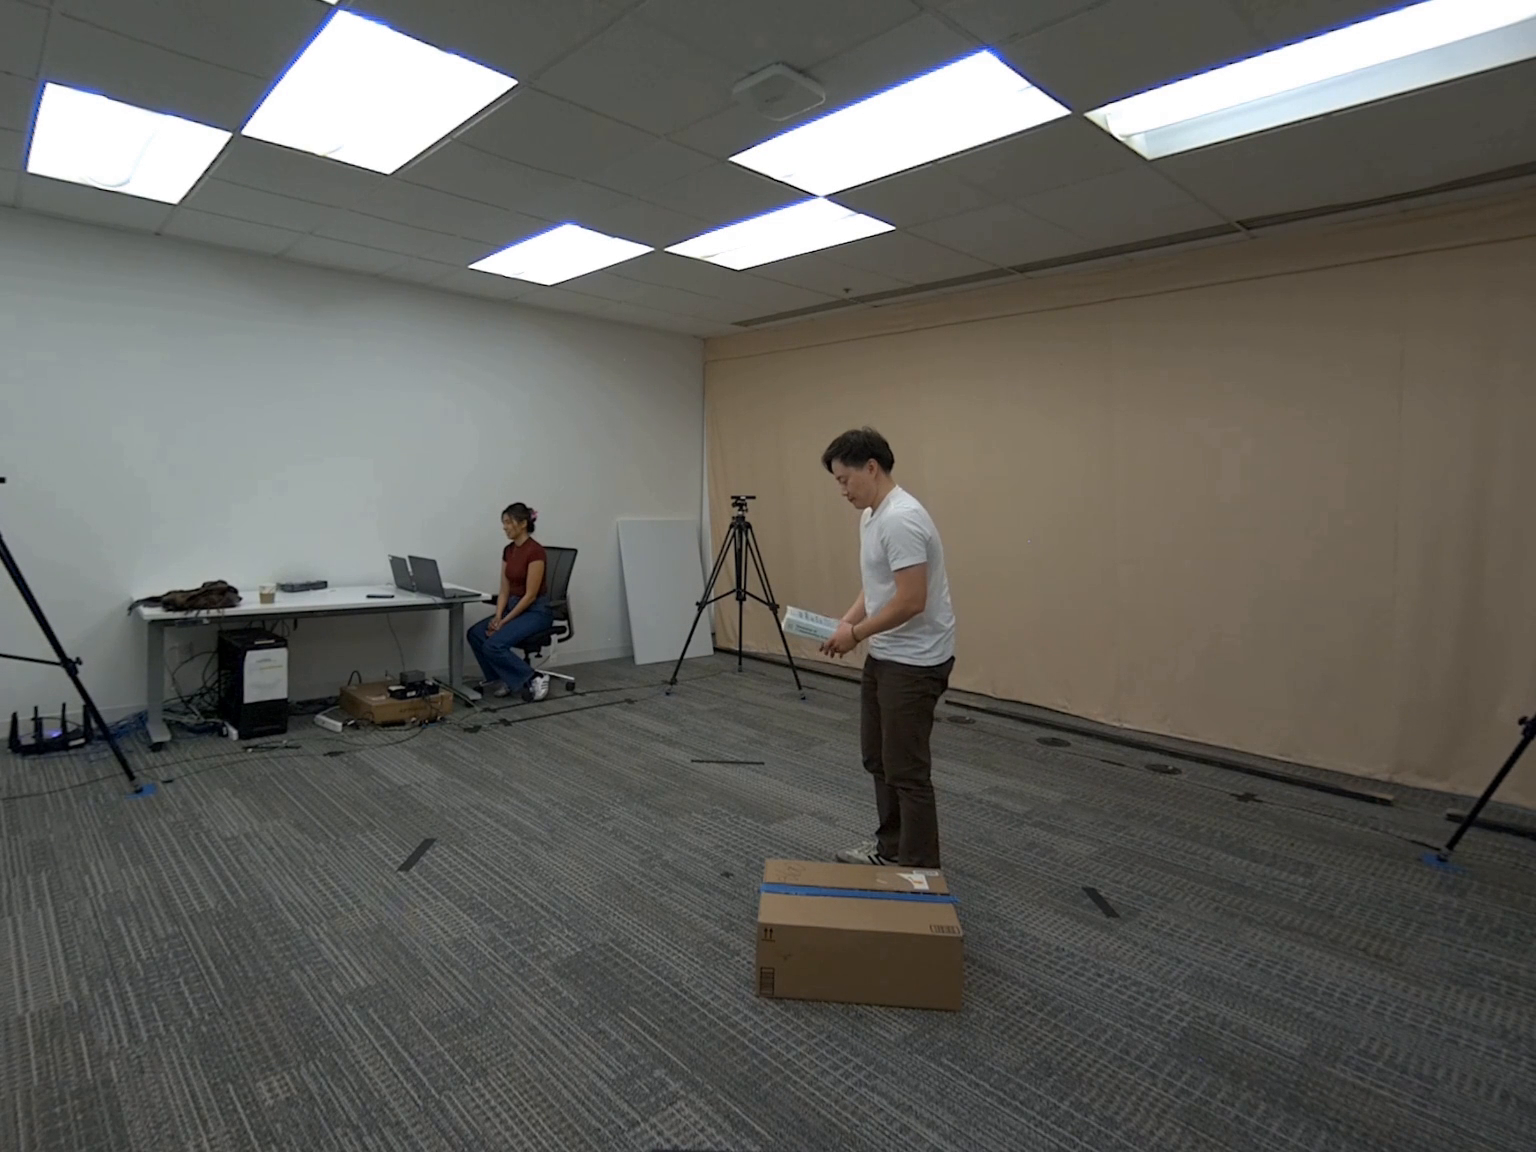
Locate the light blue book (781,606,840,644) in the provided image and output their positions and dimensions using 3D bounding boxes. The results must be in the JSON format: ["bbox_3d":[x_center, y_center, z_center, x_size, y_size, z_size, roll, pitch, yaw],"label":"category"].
[{"bbox_3d":[0.184,0.193,3.028,0.261,0.059,0.192,14,8,-2],"label":"light blue book"}]
